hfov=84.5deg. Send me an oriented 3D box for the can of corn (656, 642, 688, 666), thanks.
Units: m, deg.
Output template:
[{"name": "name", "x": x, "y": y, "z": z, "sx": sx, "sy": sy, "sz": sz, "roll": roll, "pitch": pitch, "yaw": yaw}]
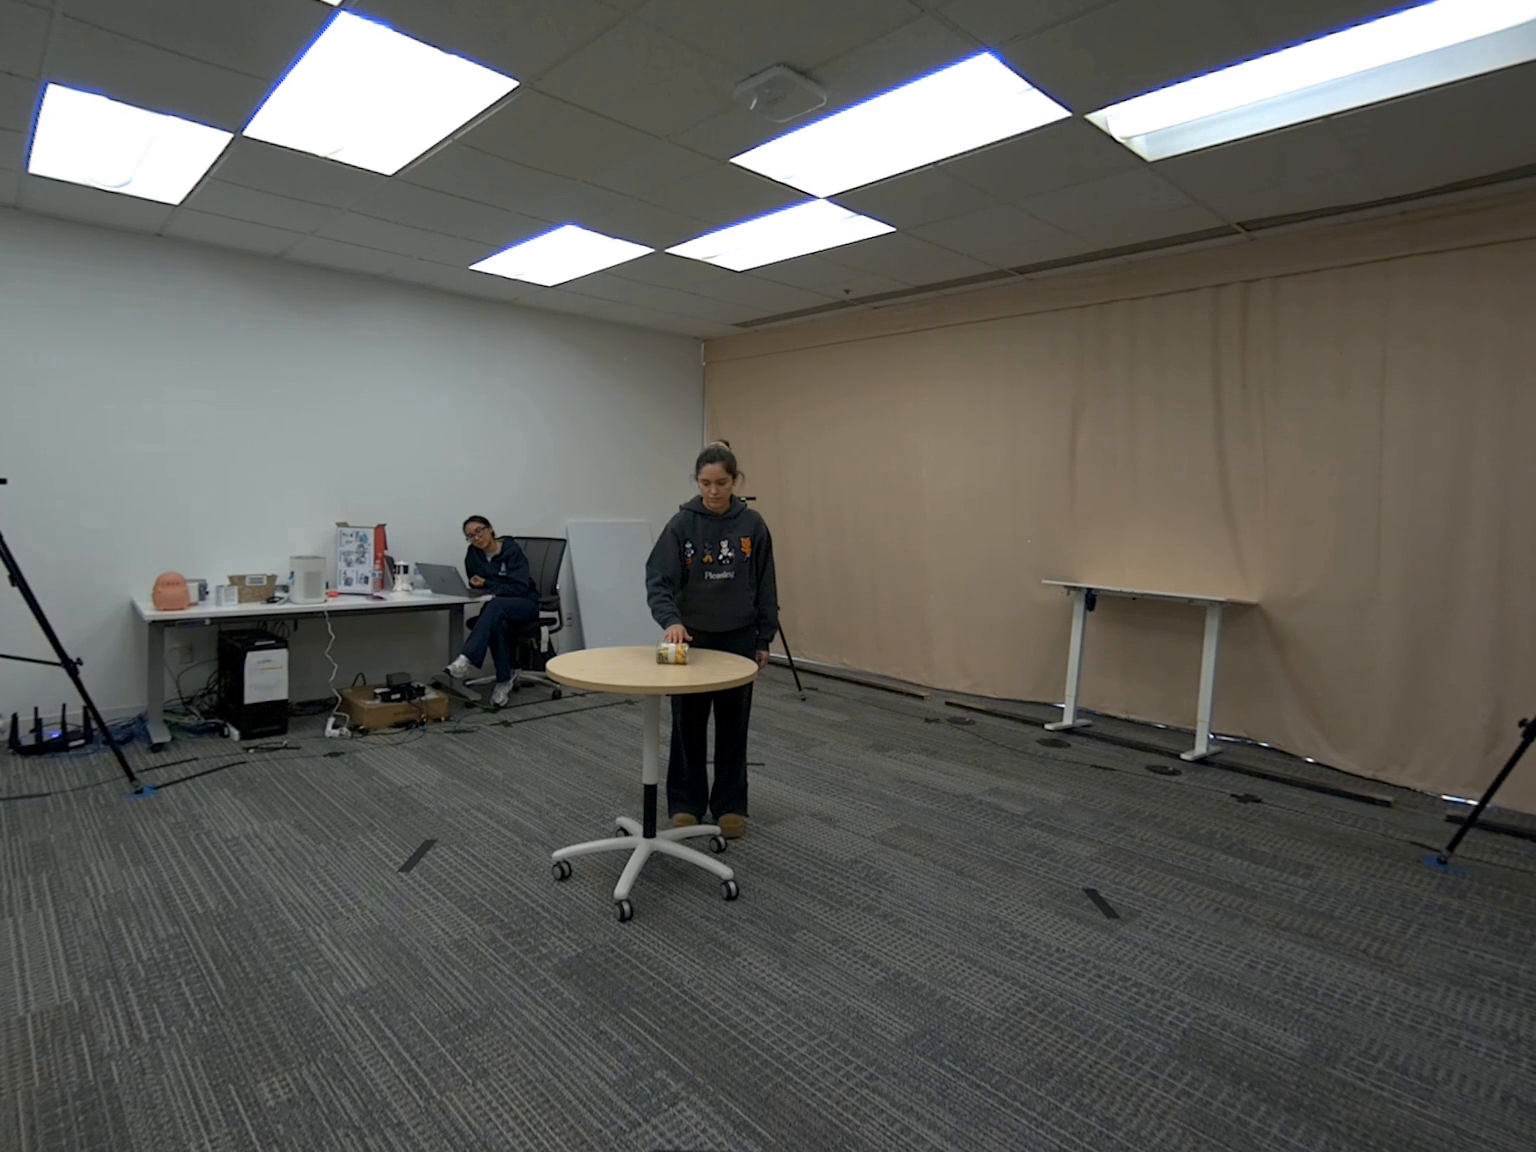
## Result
[{"name": "can of corn", "x": -0.363, "y": 0.285, "z": 3.089, "sx": 0.111, "sy": 0.074, "sz": 0.074, "roll": 3, "pitch": 5, "yaw": 6}]
